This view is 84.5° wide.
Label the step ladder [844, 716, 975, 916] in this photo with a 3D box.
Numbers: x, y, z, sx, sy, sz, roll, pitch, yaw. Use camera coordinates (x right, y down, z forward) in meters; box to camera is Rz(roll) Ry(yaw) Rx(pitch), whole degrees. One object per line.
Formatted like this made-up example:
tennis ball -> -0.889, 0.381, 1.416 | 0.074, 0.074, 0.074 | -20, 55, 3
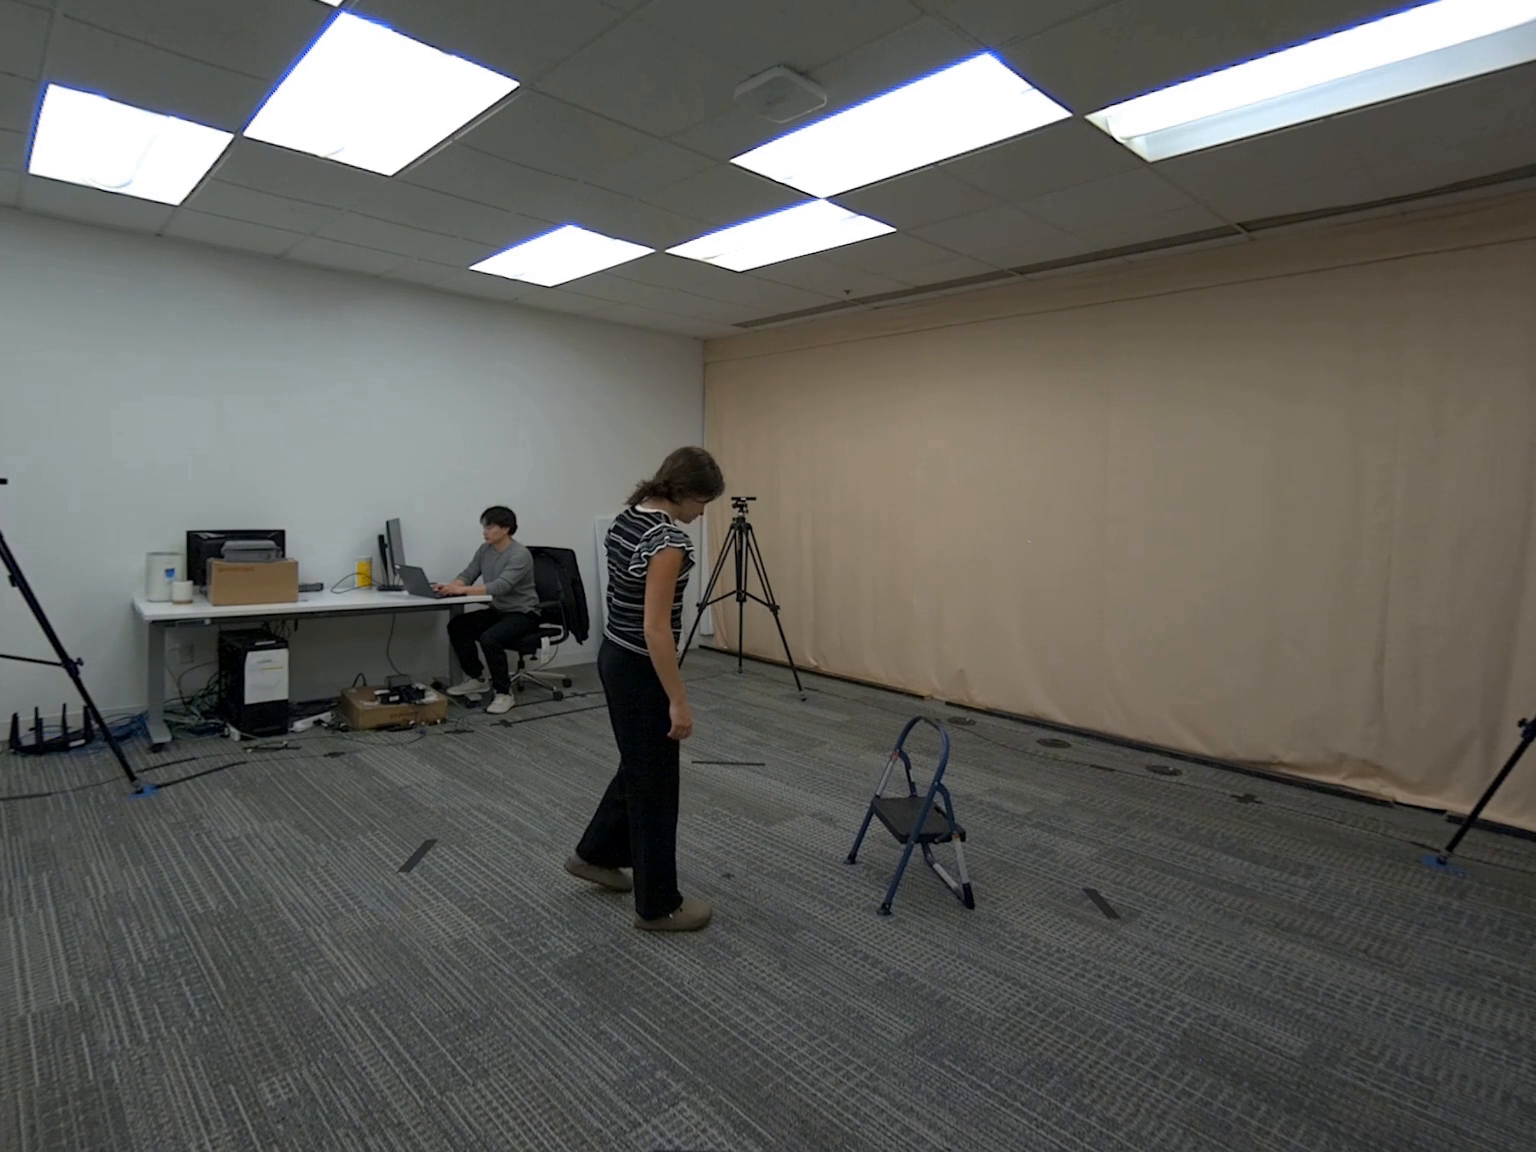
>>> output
step ladder -> 0.512, 0.828, 3.053 | 0.346, 0.604, 0.435 | 1, 4, -10
